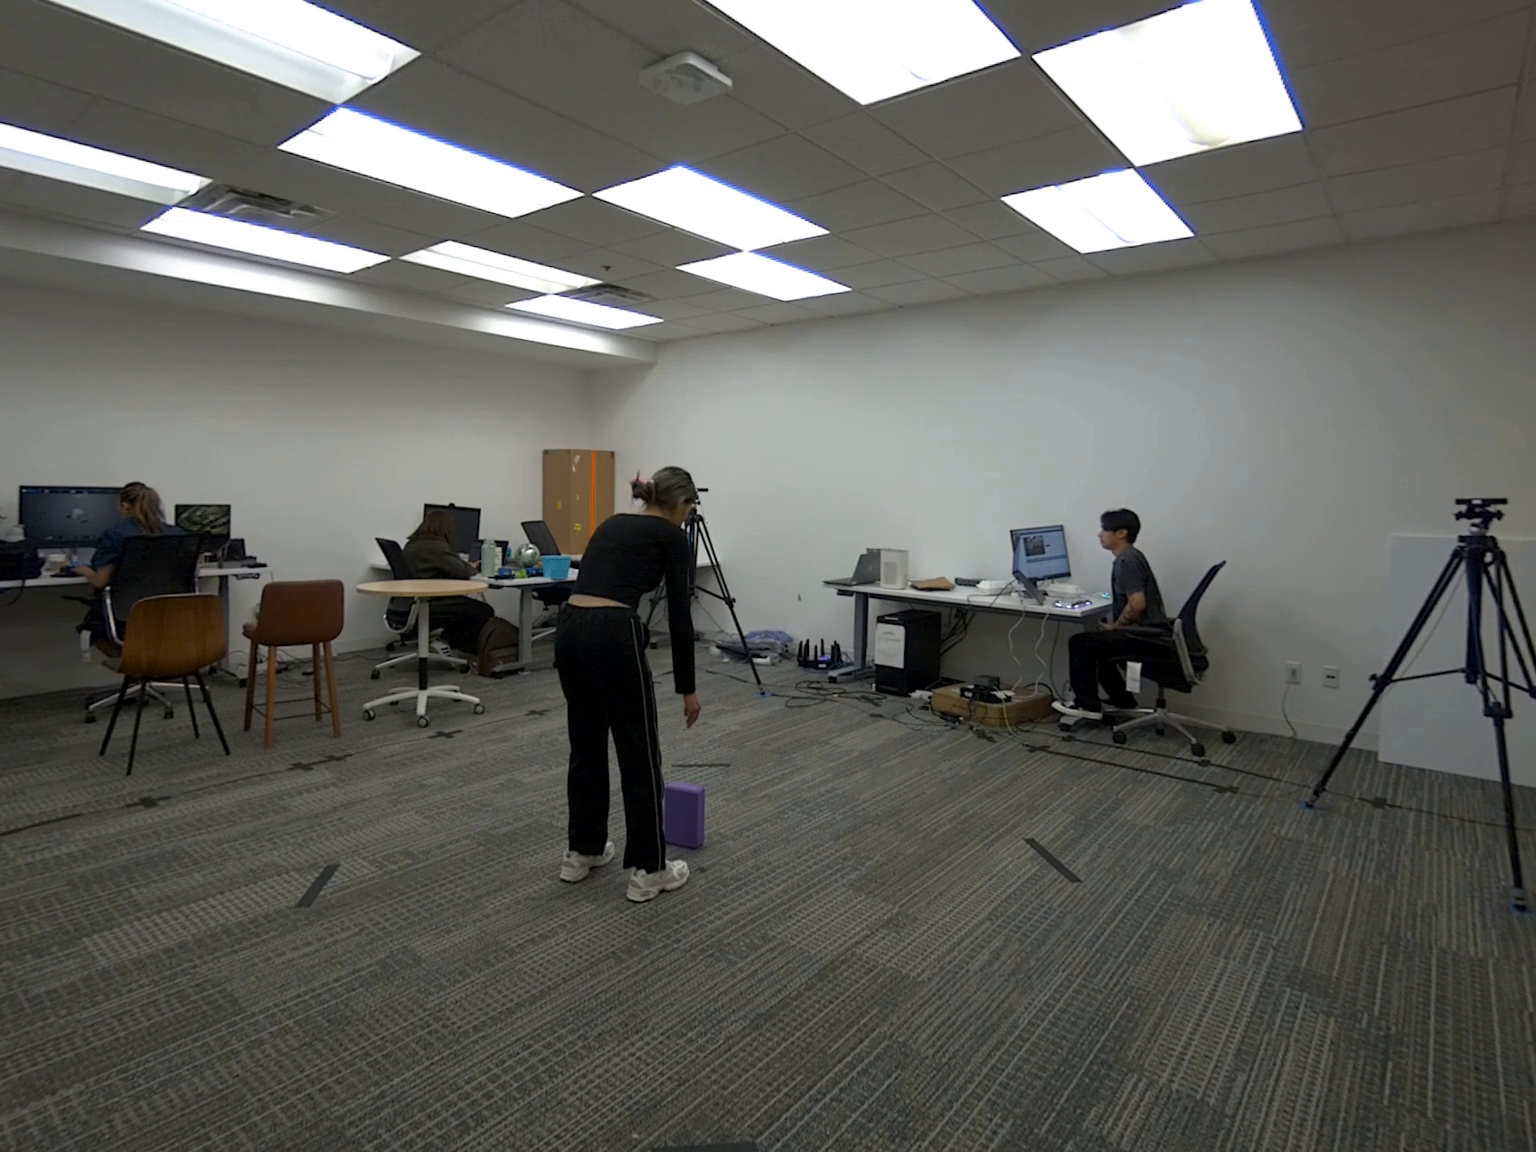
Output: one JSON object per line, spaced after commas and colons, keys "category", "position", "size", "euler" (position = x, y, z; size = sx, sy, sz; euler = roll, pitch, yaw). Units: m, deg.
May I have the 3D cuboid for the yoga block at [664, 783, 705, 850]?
{"category": "yoga block", "position": [-0.337, 0.930, 3.331], "size": [0.153, 0.229, 0.075], "euler": [2, 2, 24]}
